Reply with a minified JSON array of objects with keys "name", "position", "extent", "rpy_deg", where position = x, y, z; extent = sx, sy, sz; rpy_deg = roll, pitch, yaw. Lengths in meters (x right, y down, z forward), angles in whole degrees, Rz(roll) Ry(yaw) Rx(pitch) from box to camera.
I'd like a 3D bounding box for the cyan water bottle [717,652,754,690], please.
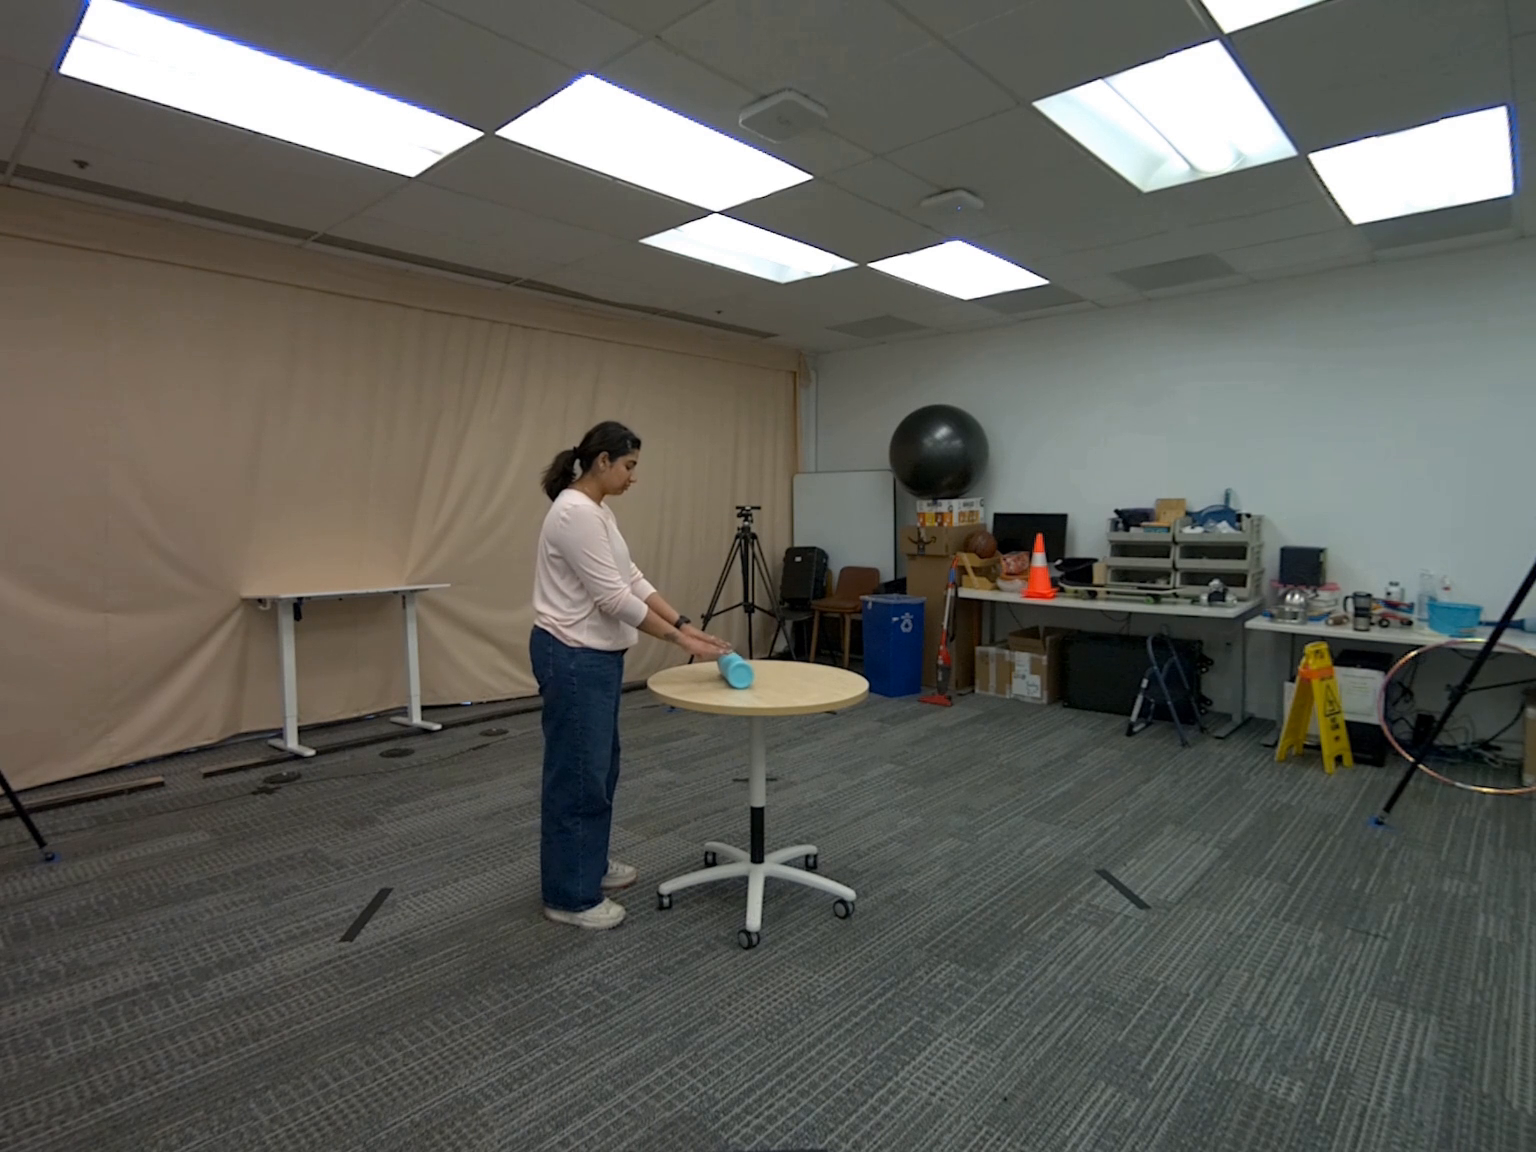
[{"name":"cyan water bottle","position":[-0.118,0.321,2.926],"extent":[0.091,0.092,0.287],"rpy_deg":[-1,4,-10]}]
